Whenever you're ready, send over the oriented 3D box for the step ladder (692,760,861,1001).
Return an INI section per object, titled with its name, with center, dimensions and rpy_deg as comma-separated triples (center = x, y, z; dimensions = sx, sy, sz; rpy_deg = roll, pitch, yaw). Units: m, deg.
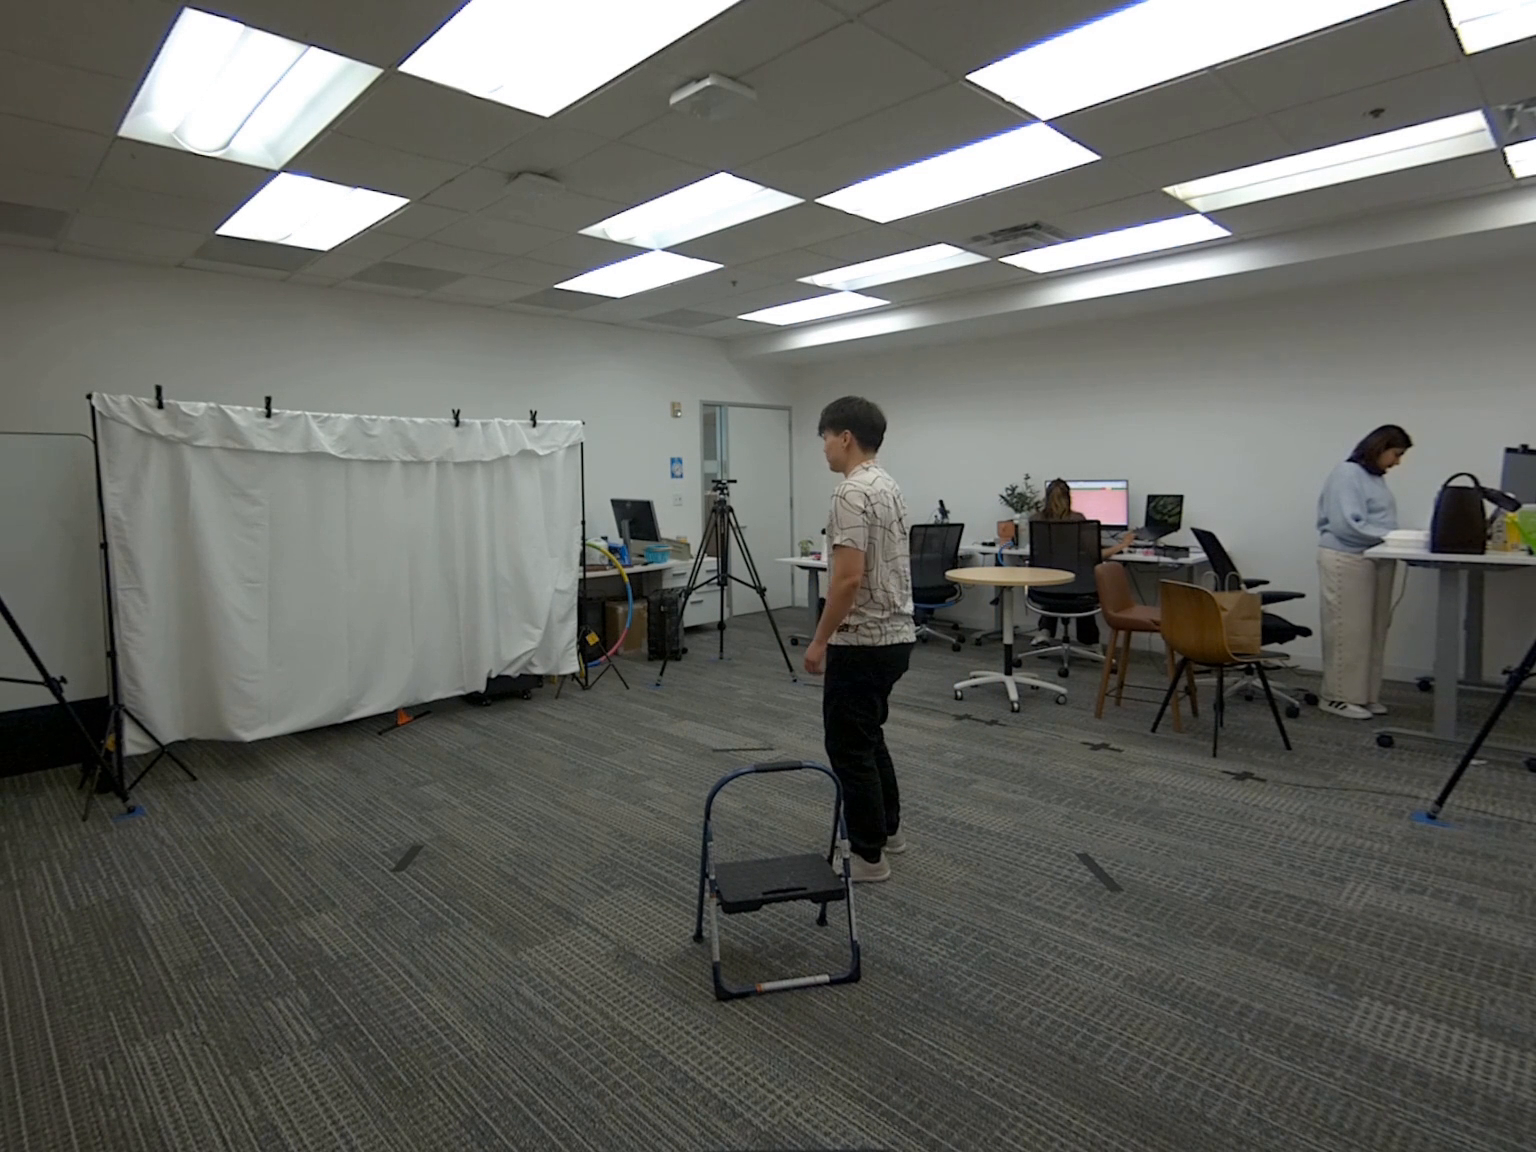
[step ladder]
center = 0.016, 0.815, 2.478
dimensions = 0.425, 0.604, 0.355
rpy_deg = -3, 5, -14
